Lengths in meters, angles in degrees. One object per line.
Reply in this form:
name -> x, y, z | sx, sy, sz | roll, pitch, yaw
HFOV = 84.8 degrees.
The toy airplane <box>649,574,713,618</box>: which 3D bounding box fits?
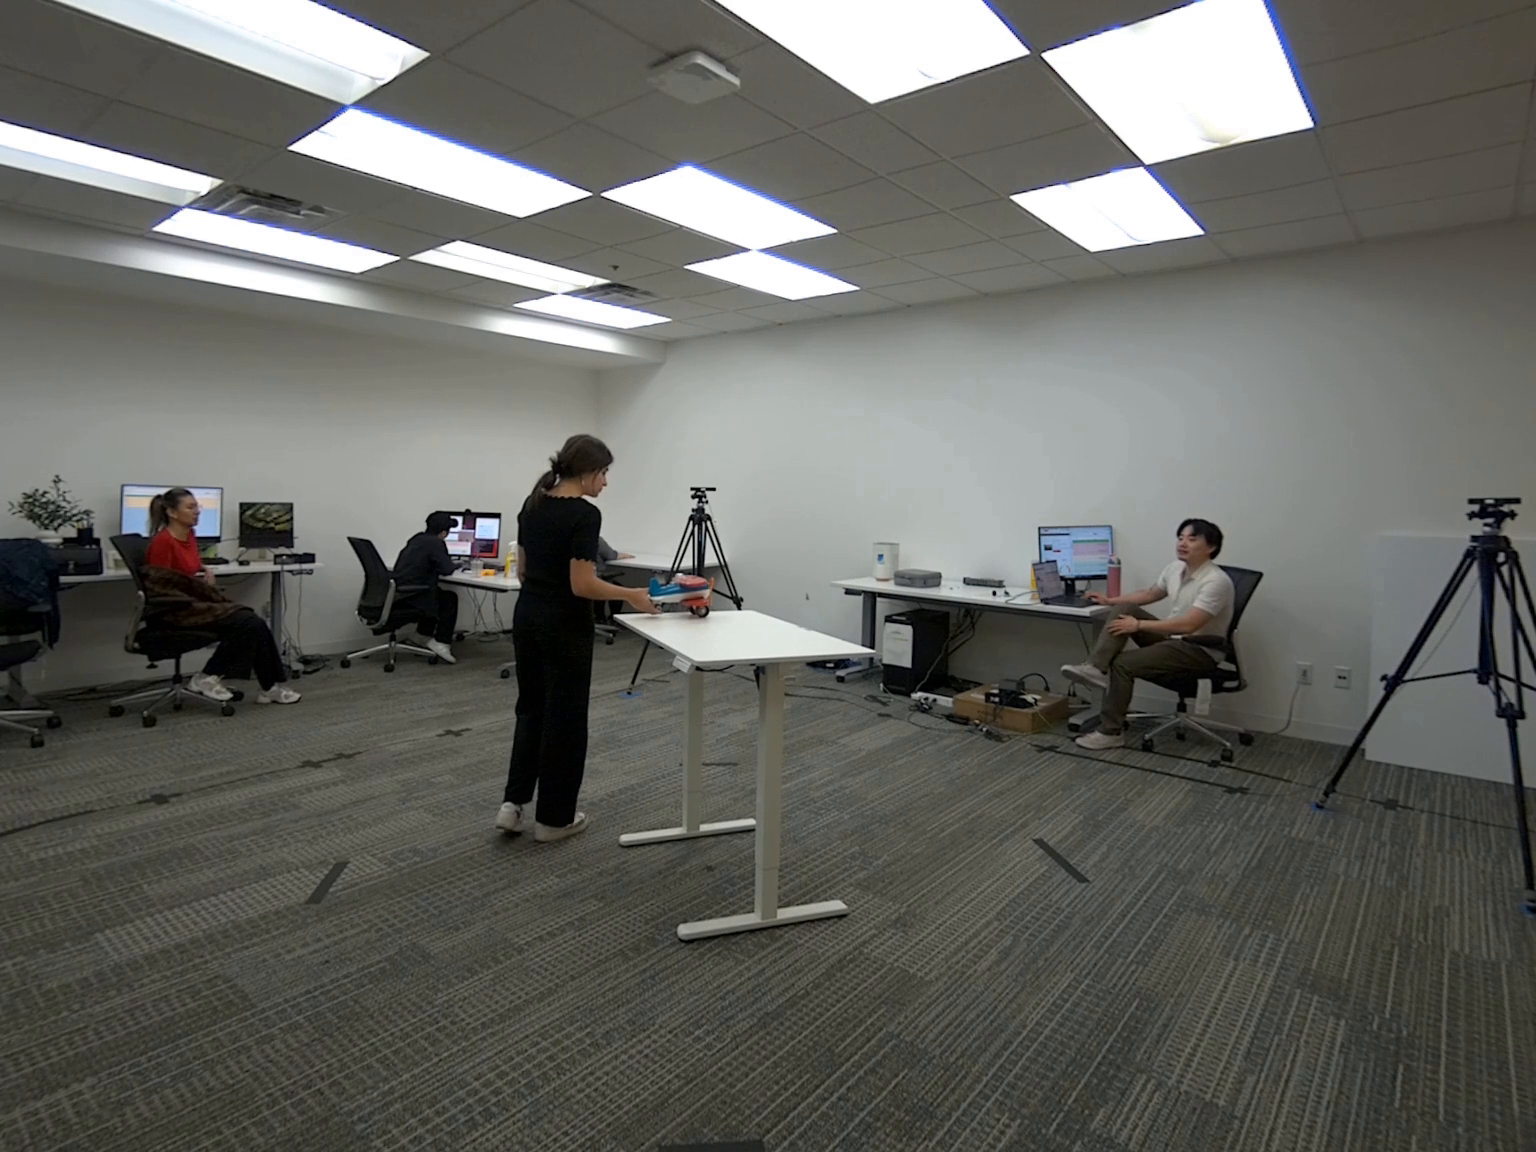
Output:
toy airplane -> -0.355, 0.076, 3.348 | 0.260, 0.156, 0.250 | 8, 1, 40
